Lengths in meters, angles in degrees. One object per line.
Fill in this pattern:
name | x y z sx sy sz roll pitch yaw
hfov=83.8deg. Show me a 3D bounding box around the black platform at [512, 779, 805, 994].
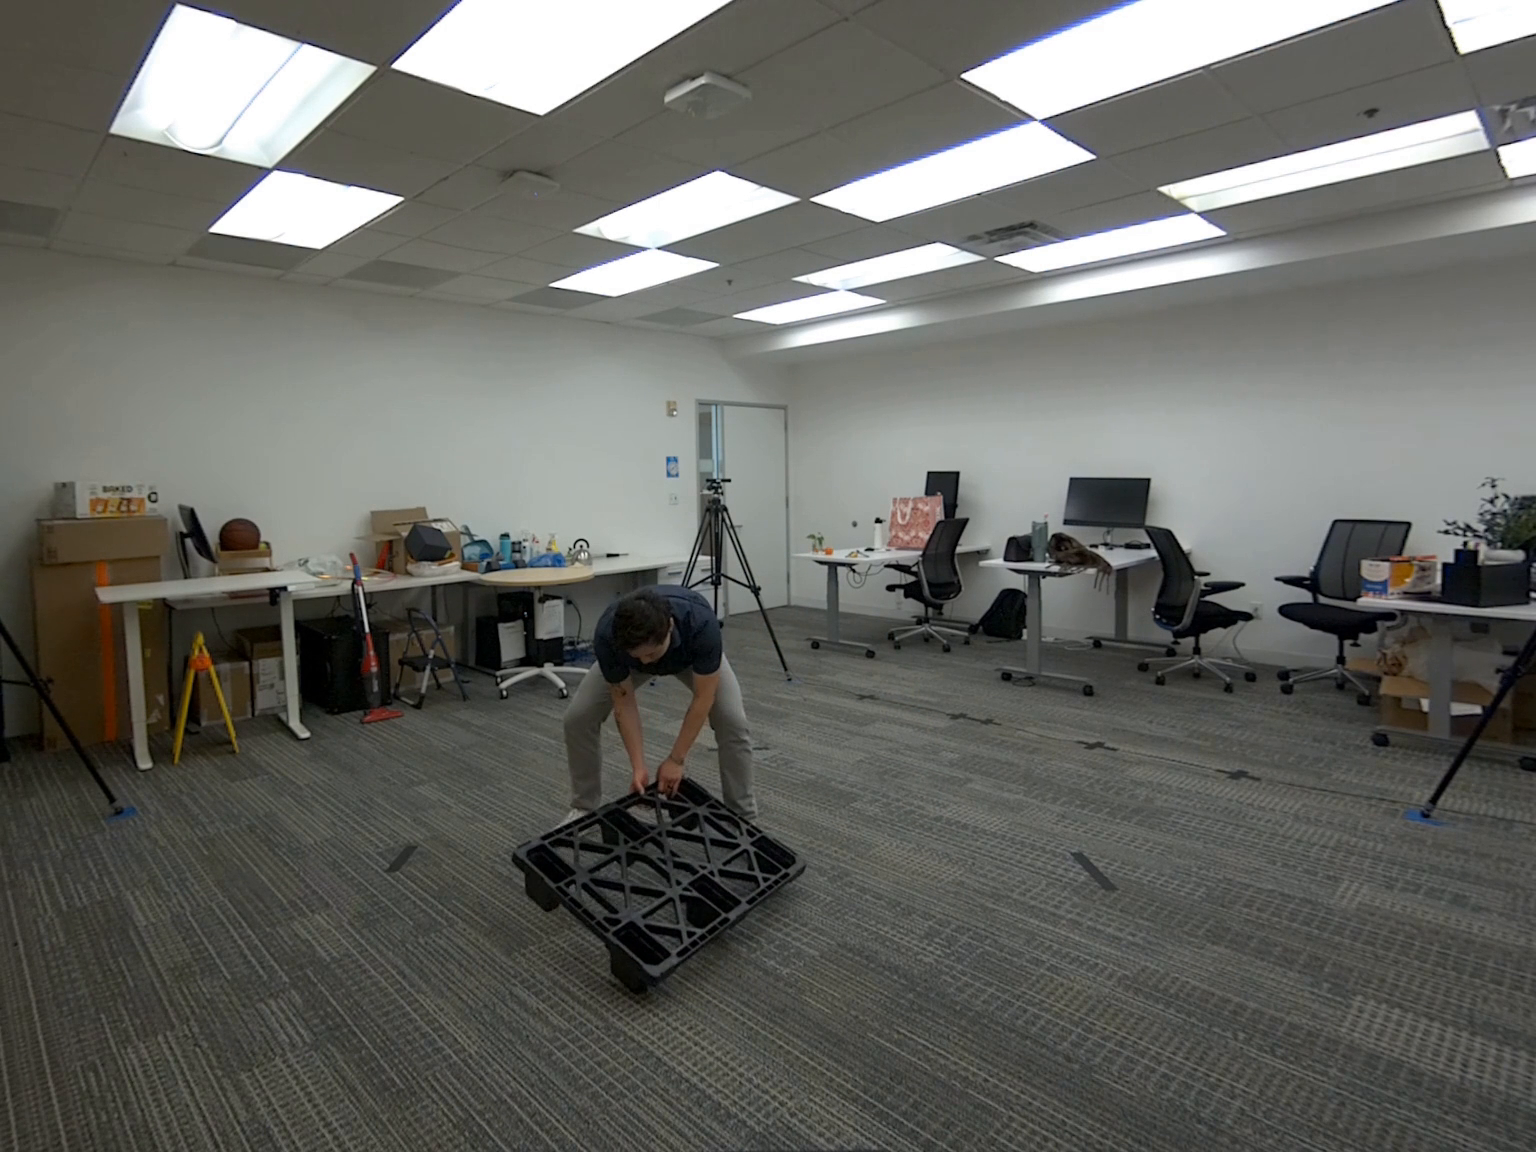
black platform | -0.335 0.952 2.728 0.626 0.142 0.787 26 20 30
